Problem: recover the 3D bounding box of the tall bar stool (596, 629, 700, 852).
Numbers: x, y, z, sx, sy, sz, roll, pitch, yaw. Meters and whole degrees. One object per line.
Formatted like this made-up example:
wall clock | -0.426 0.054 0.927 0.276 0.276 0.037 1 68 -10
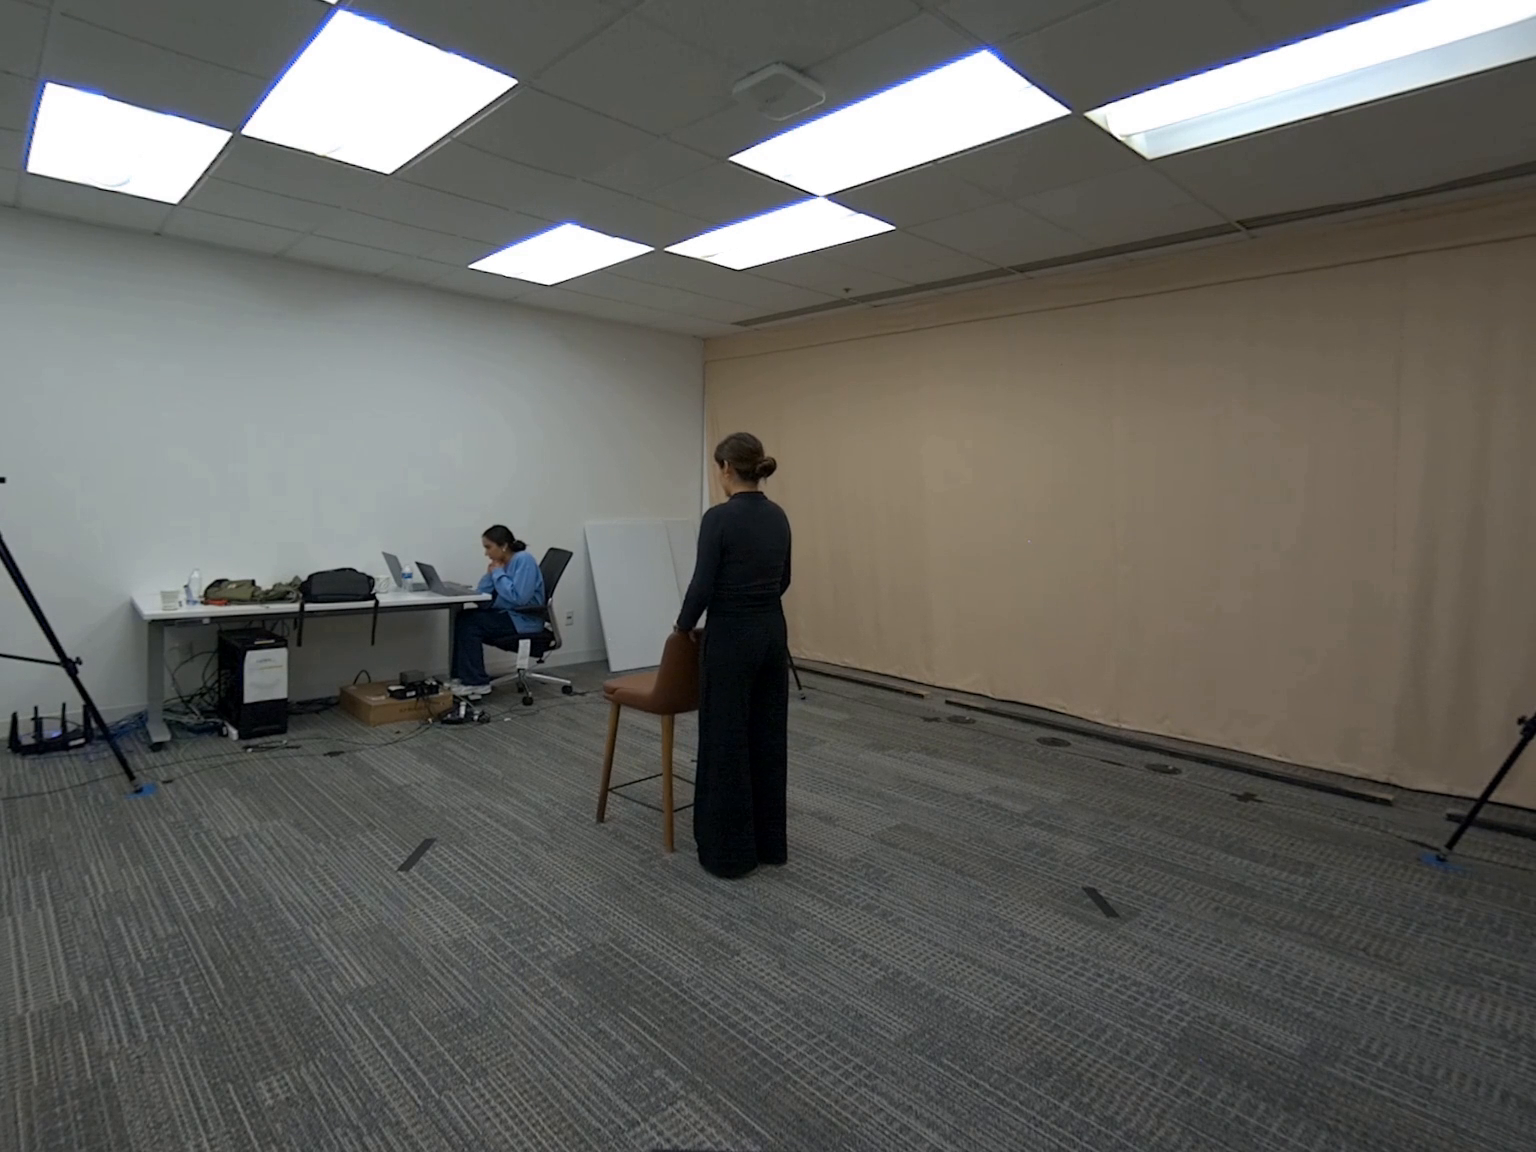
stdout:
tall bar stool | -0.418 0.619 3.535 0.480 0.886 0.446 8 7 42
